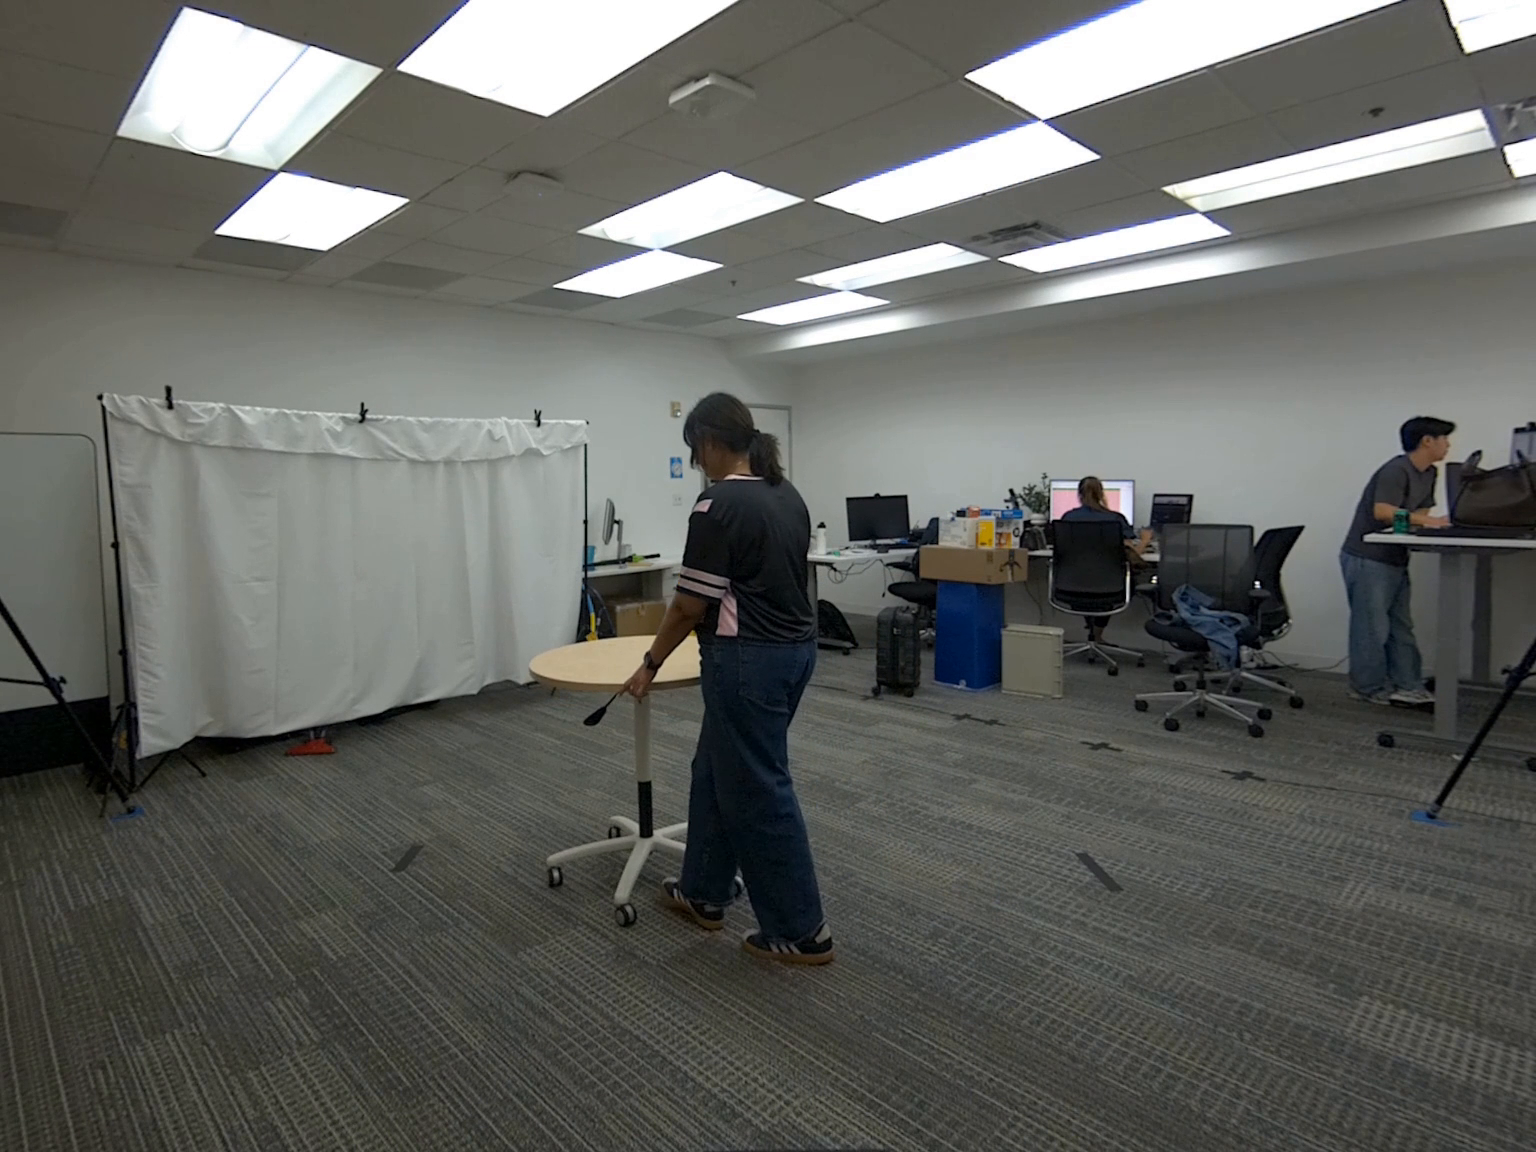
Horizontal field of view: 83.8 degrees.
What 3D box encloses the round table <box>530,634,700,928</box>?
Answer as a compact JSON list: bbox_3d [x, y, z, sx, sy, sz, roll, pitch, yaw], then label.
[{"bbox_3d":[-0.433,0.674,3.025,0.763,0.791,0.768,-2,5,-2],"label":"round table"}]
